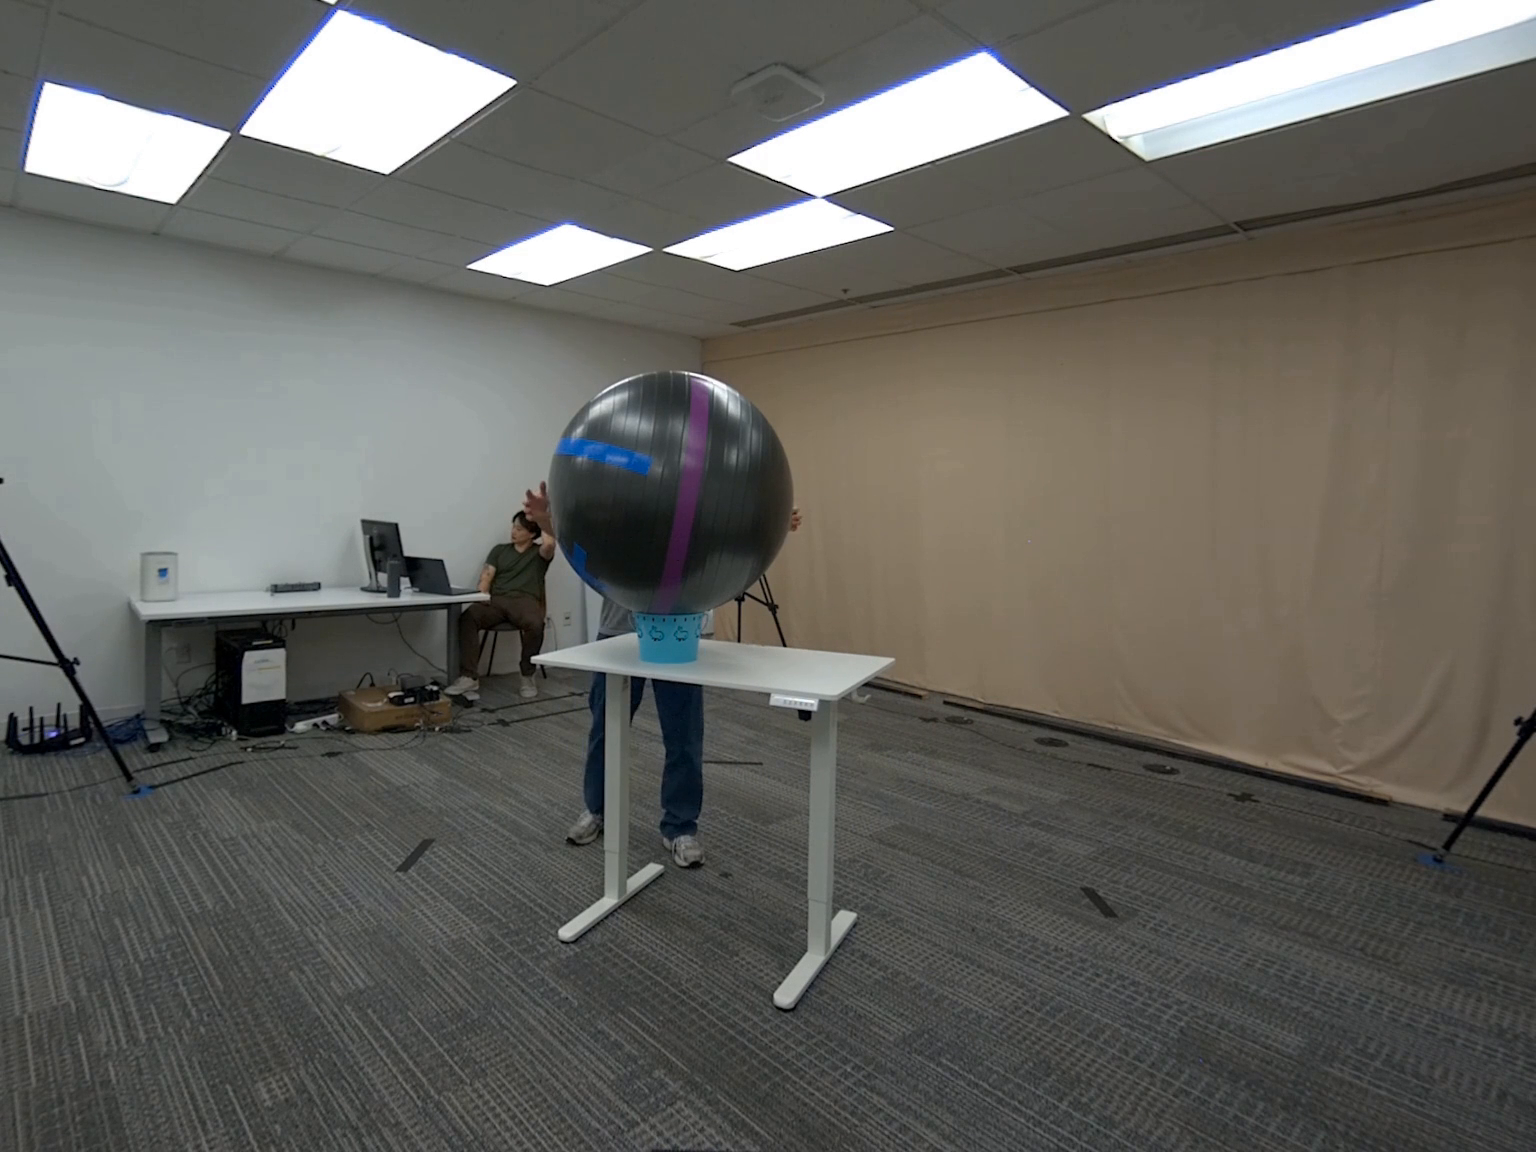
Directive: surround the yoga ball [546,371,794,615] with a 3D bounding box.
[{"bbox_3d":[-0.305,-0.250,2.629,0.757,0.756,0.761,1,4,-1],"label":"yoga ball"}]
